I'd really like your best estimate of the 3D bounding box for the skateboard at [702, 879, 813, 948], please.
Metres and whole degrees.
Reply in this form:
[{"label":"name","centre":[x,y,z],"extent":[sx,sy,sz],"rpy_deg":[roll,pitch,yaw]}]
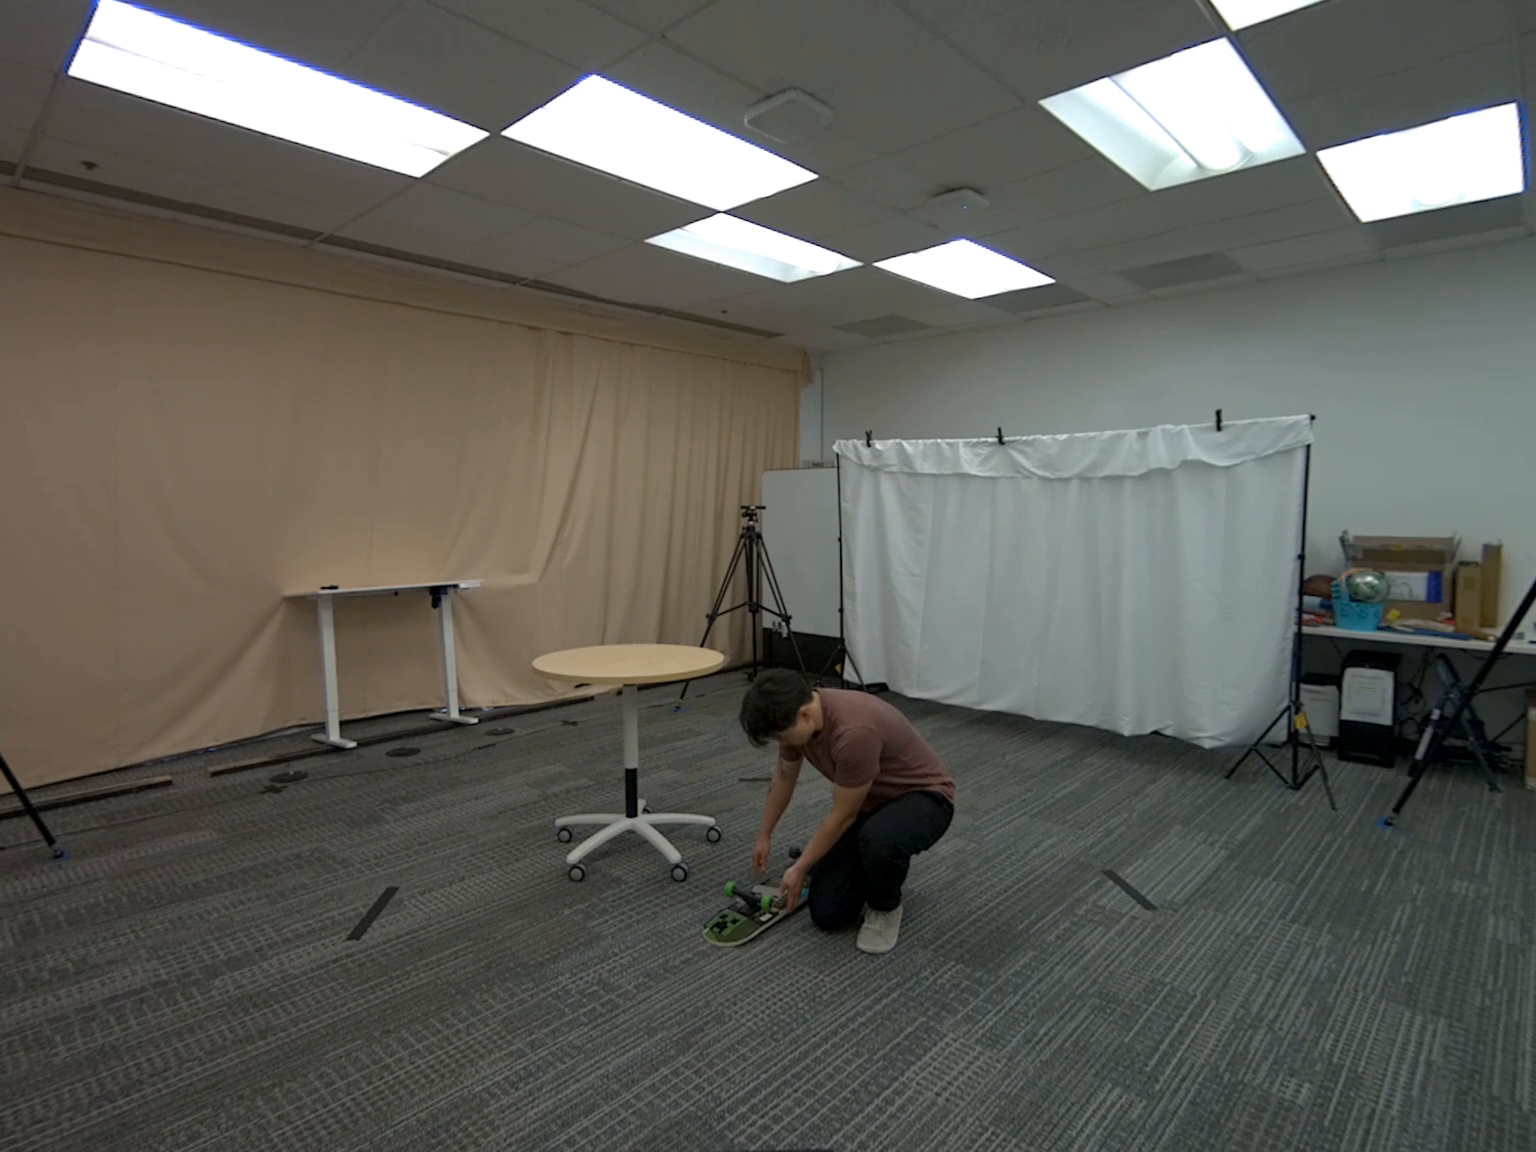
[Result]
[{"label":"skateboard","centre":[0.050,1.094,2.982],"extent":[0.199,0.110,0.763],"rpy_deg":[1,5,35]}]
